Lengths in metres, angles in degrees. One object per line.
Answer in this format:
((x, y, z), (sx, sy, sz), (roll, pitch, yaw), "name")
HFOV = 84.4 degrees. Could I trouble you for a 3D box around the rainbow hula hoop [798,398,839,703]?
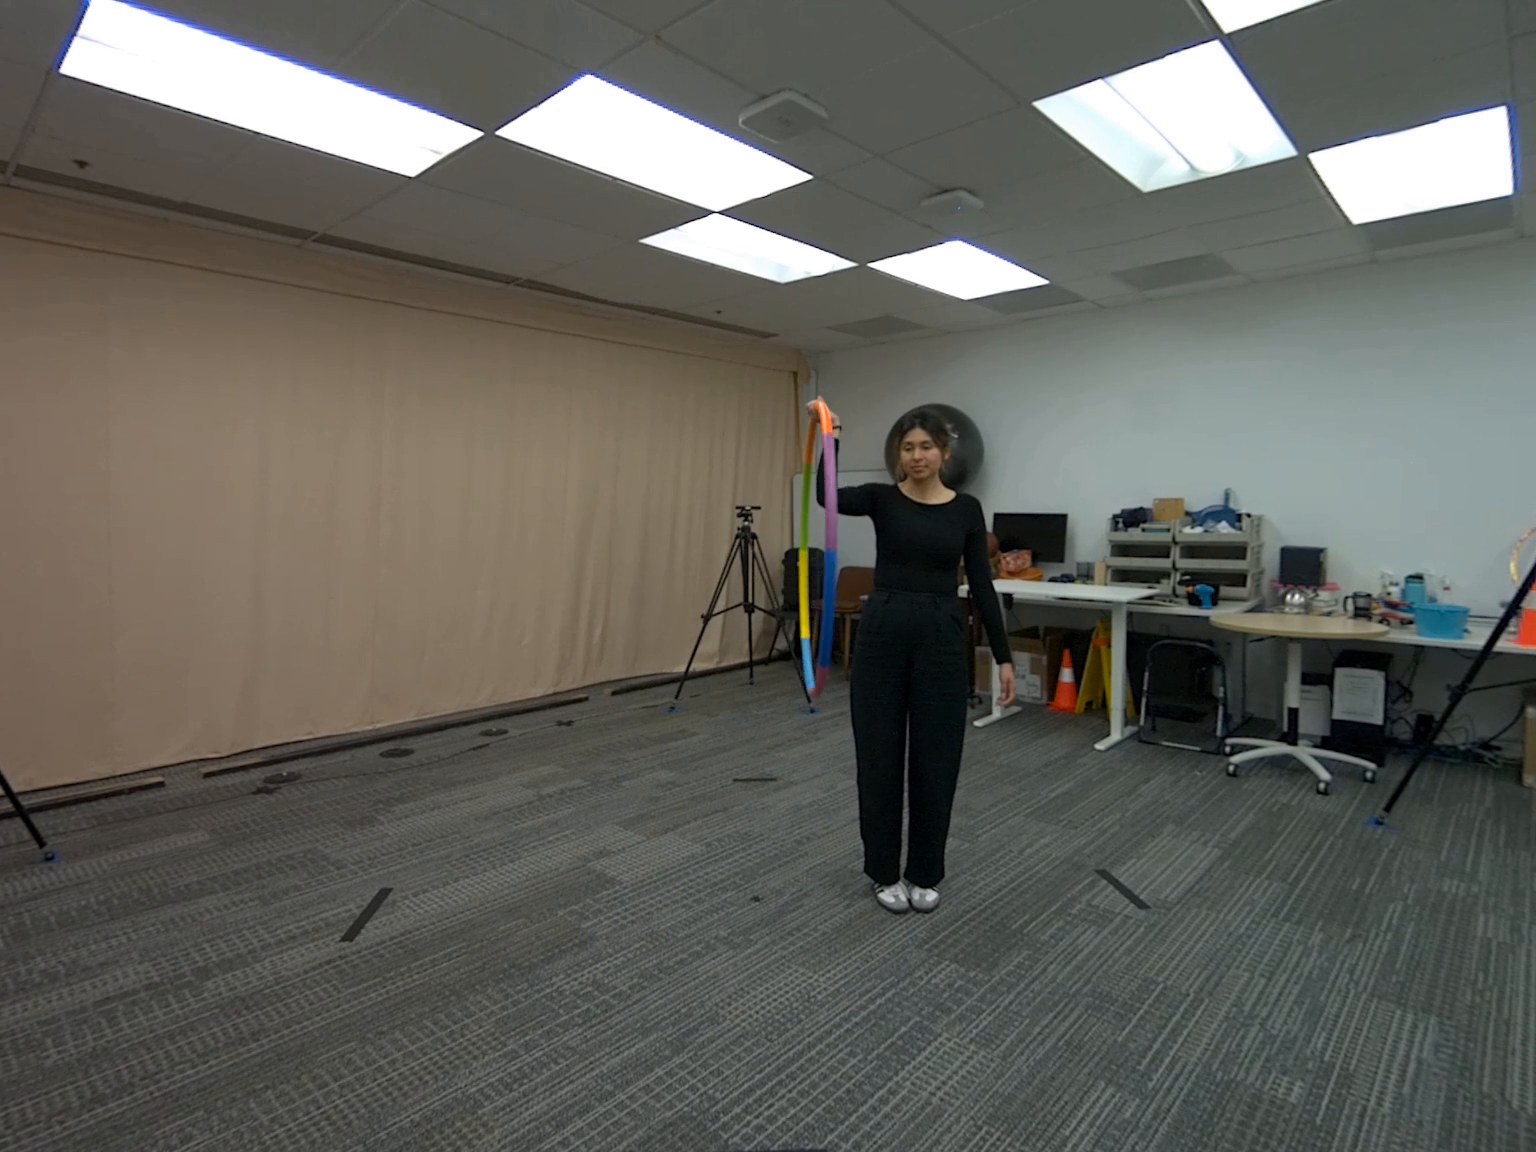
((0.170, -0.091, 2.866), (0.051, 0.983, 0.989), (2, 4, -3), "rainbow hula hoop")
